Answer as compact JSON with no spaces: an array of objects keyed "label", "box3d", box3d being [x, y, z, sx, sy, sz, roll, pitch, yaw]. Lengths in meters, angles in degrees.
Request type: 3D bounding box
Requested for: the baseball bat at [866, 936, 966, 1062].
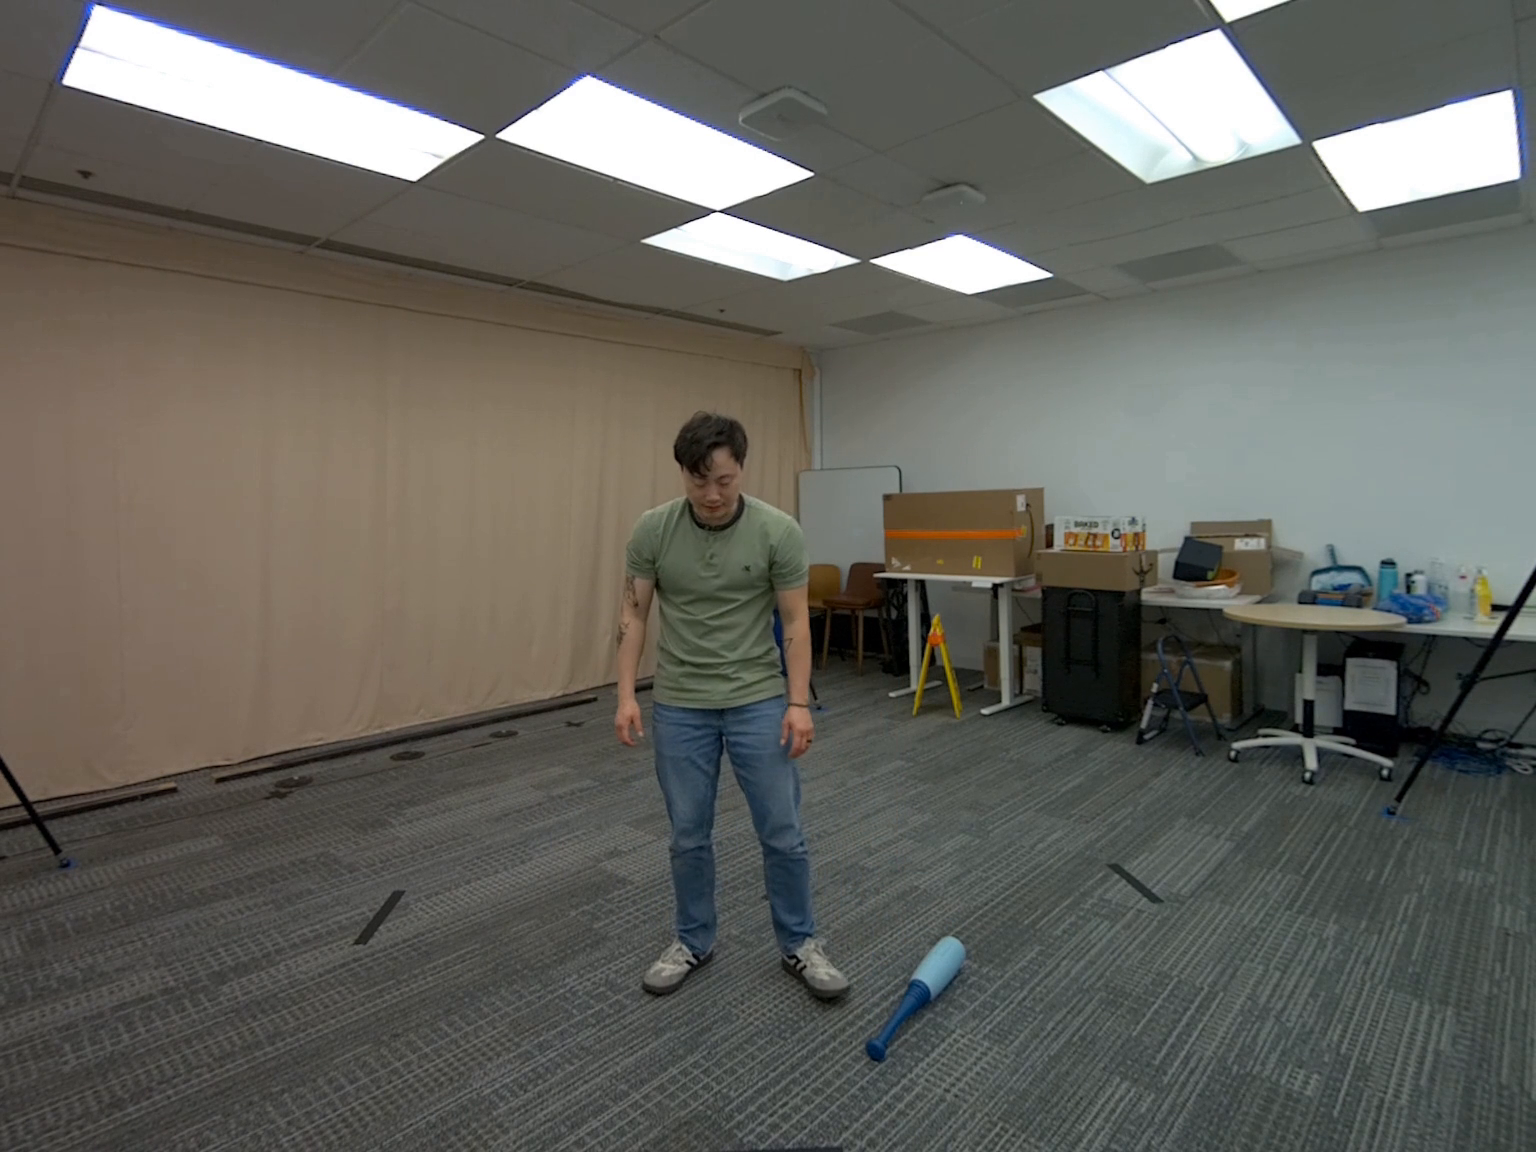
[{"label":"baseball bat","box3d":[0.419,1.158,2.306,0.092,0.088,0.528,2,9,35]}]
